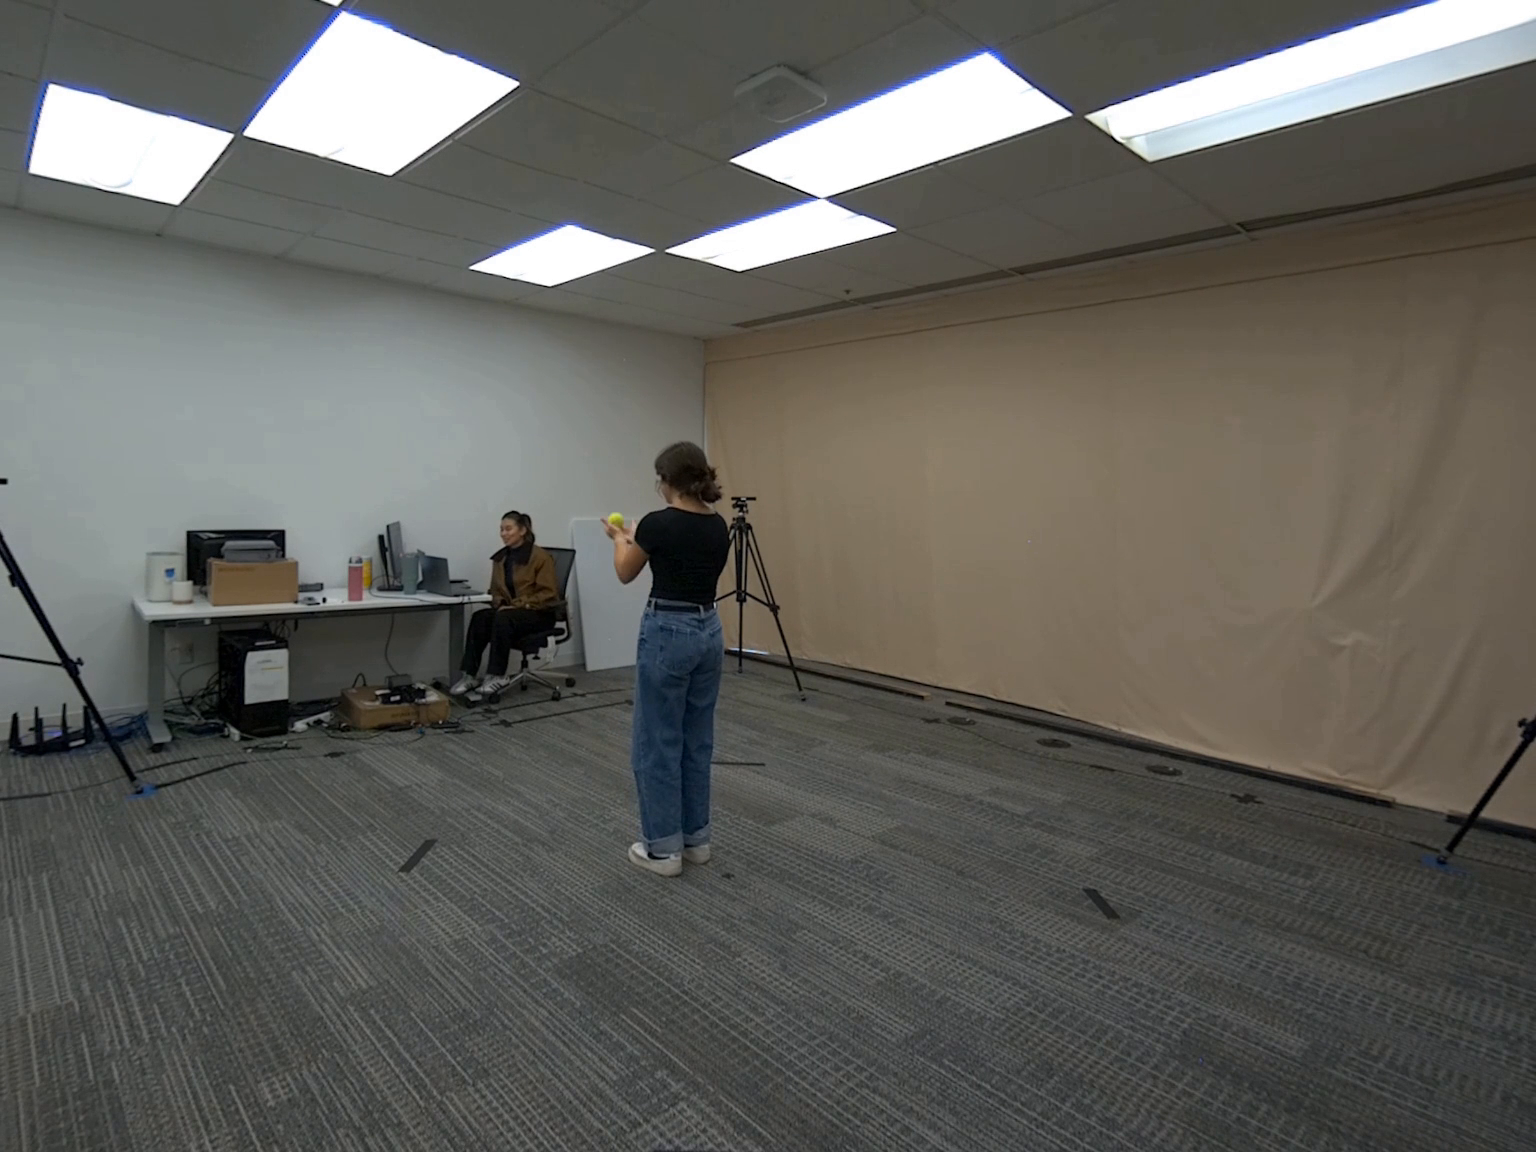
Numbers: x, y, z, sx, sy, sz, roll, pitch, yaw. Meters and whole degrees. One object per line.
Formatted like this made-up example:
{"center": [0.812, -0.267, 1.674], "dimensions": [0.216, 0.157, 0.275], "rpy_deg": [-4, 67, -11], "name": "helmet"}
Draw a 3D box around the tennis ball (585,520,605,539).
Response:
{"center": [-0.715, -0.193, 3.481], "dimensions": [0.066, 0.066, 0.067], "rpy_deg": [1, 4, -1], "name": "tennis ball"}
